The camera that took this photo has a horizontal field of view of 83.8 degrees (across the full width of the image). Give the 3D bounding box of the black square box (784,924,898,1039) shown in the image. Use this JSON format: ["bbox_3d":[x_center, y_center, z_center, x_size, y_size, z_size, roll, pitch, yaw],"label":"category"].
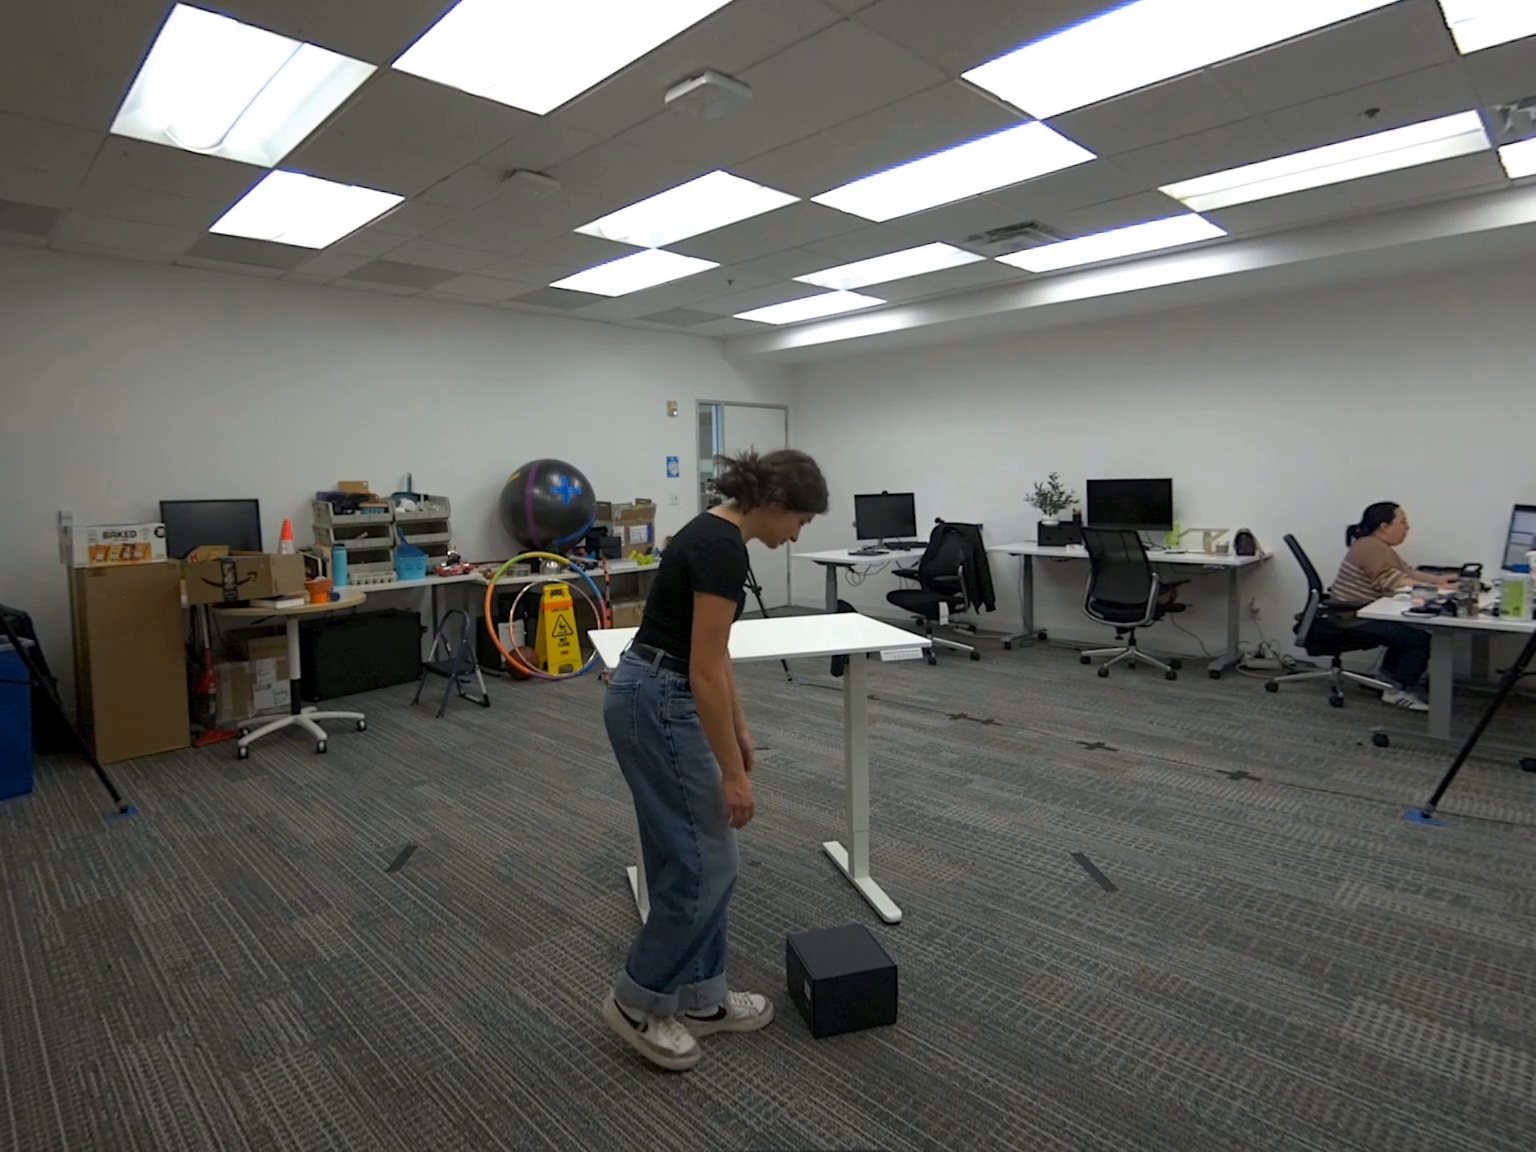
[{"bbox_3d":[0.195,1.059,2.252,0.224,0.155,0.221,-3,6,-16],"label":"black square box"}]
